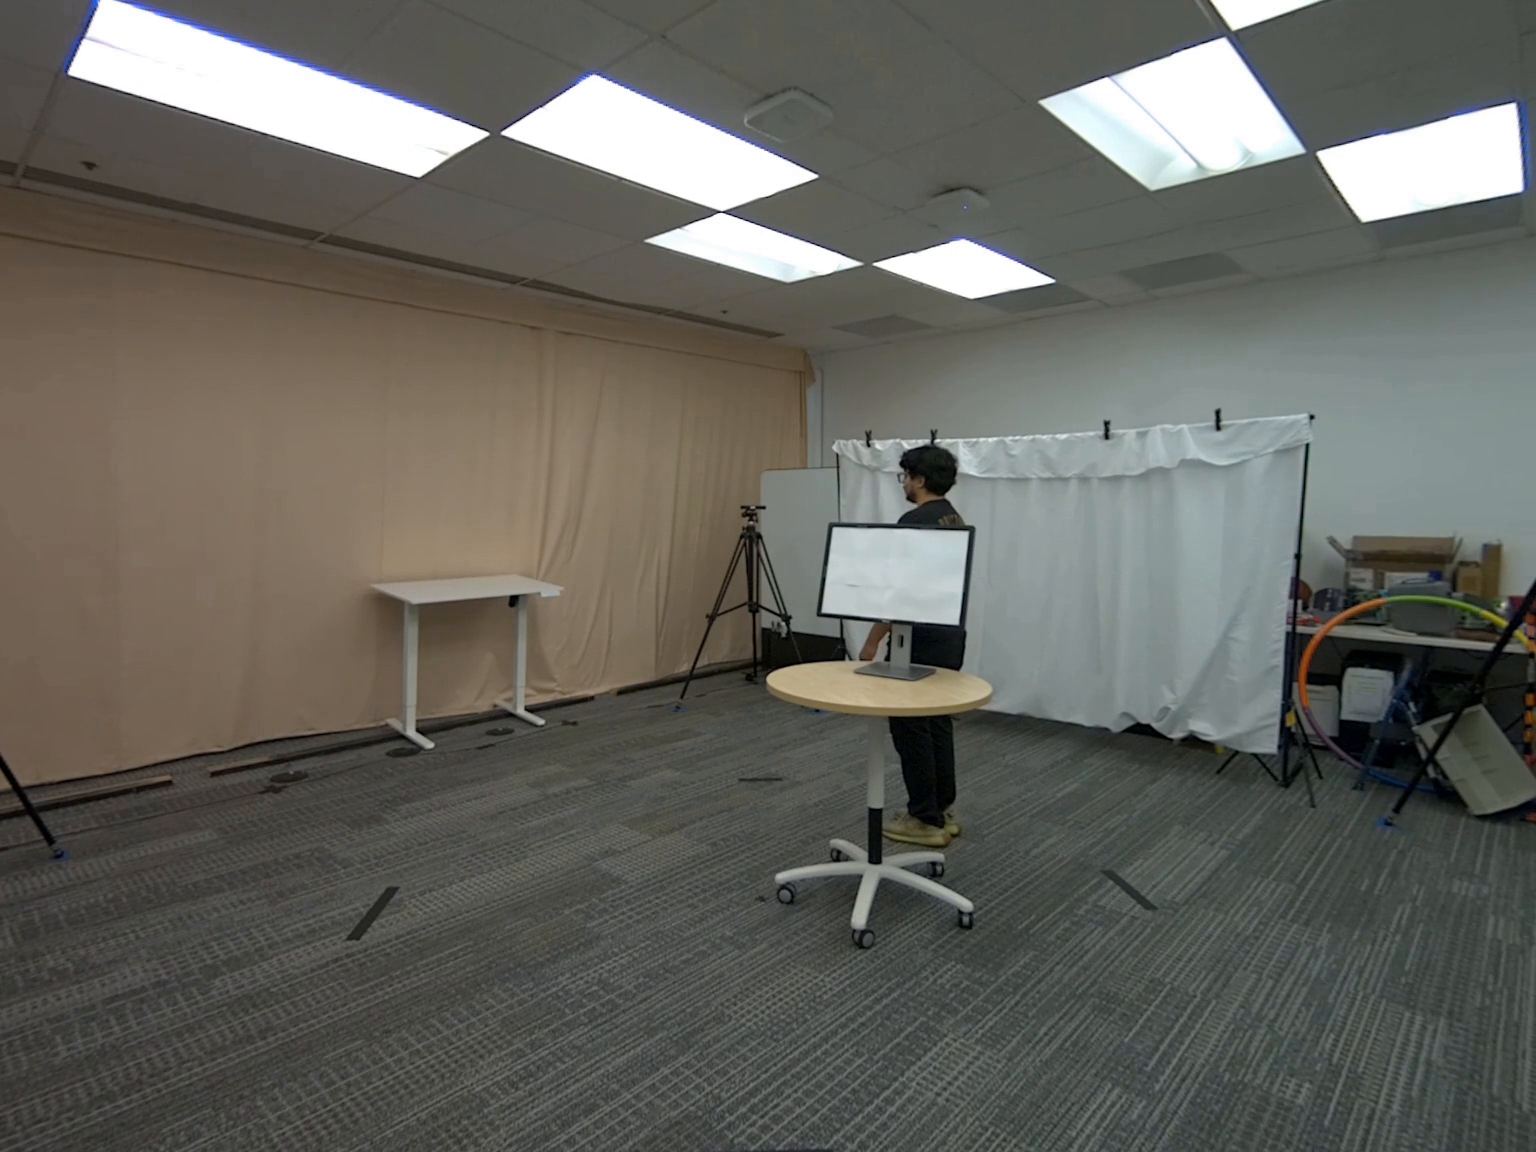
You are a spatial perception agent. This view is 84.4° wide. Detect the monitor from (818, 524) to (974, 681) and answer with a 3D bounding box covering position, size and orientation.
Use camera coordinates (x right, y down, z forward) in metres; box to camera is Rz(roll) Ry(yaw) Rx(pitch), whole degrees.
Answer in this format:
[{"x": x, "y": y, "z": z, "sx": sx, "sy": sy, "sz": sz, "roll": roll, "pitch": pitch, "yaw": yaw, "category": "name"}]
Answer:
[{"x": 0.485, "y": 0.087, "z": 3.079, "sx": 0.583, "sy": 0.555, "sz": 0.203, "roll": 3, "pitch": -3, "yaw": 34, "category": "monitor"}]
